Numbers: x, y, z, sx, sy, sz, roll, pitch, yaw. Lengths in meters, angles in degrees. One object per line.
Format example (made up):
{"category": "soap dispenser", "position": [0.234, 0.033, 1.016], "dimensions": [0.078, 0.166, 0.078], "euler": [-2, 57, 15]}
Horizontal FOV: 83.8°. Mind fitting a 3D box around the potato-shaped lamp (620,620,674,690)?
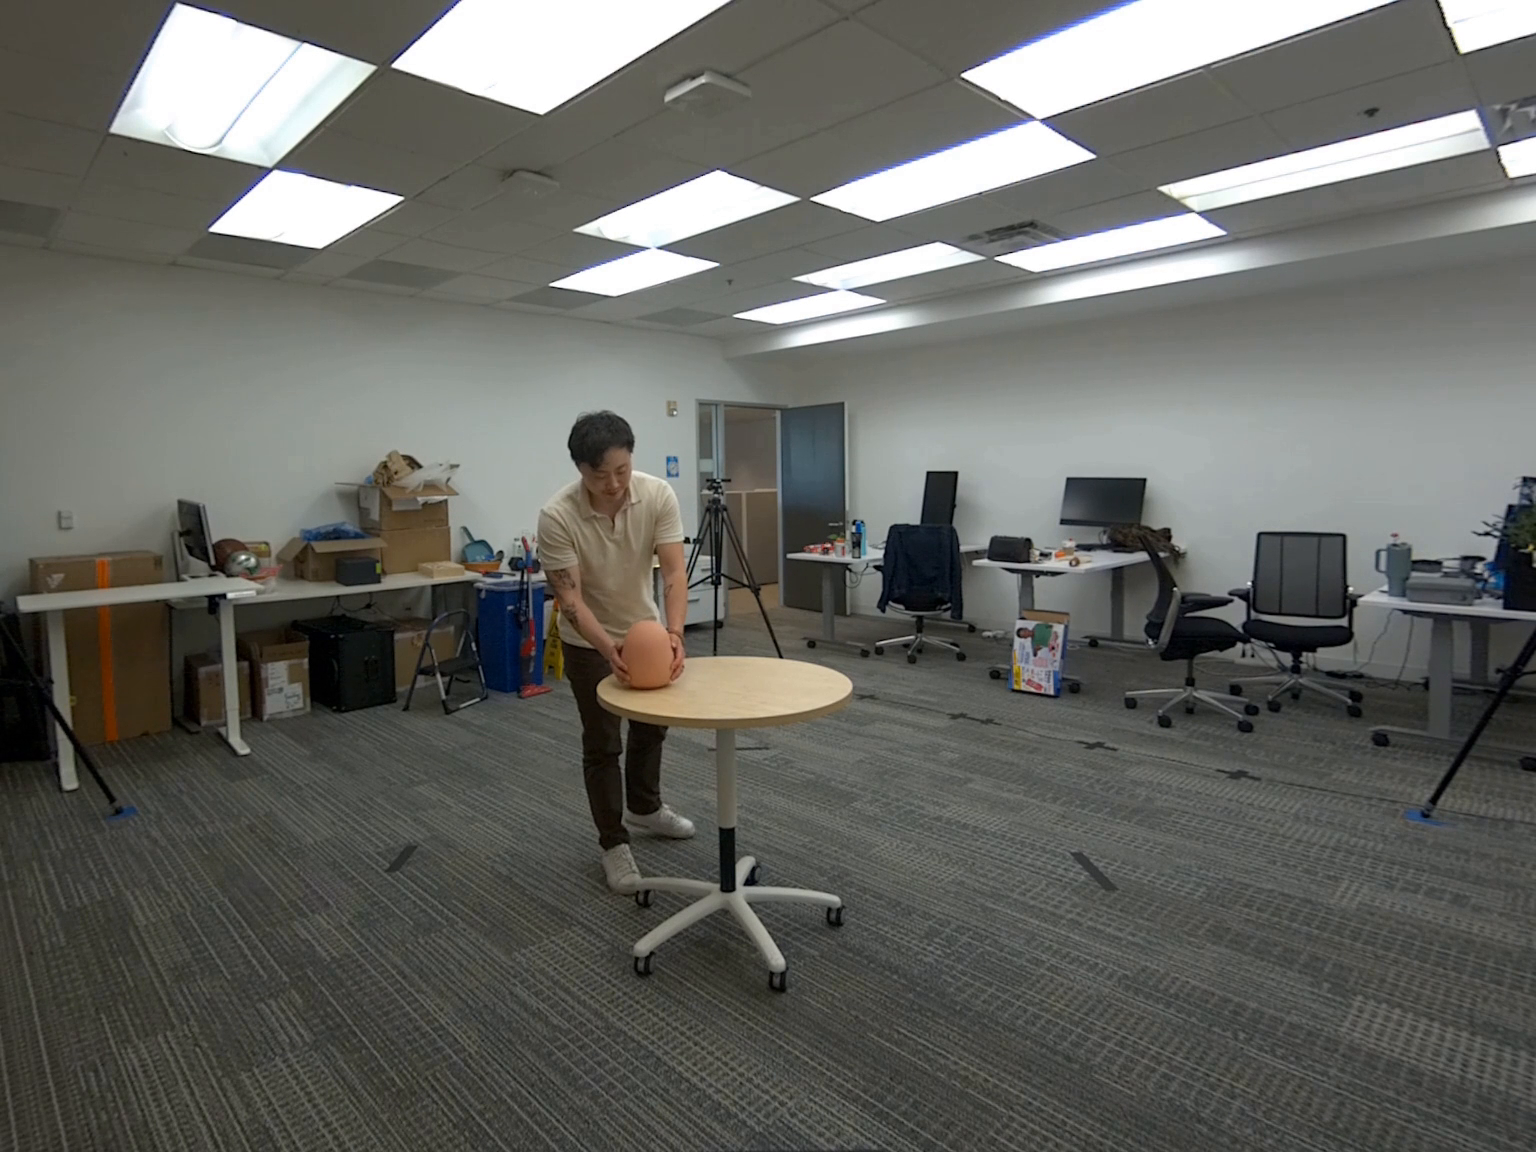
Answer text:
{"category": "potato-shaped lamp", "position": [-0.354, 0.222, 2.559], "dimensions": [0.165, 0.198, 0.170], "euler": [-5, -2, 3]}
